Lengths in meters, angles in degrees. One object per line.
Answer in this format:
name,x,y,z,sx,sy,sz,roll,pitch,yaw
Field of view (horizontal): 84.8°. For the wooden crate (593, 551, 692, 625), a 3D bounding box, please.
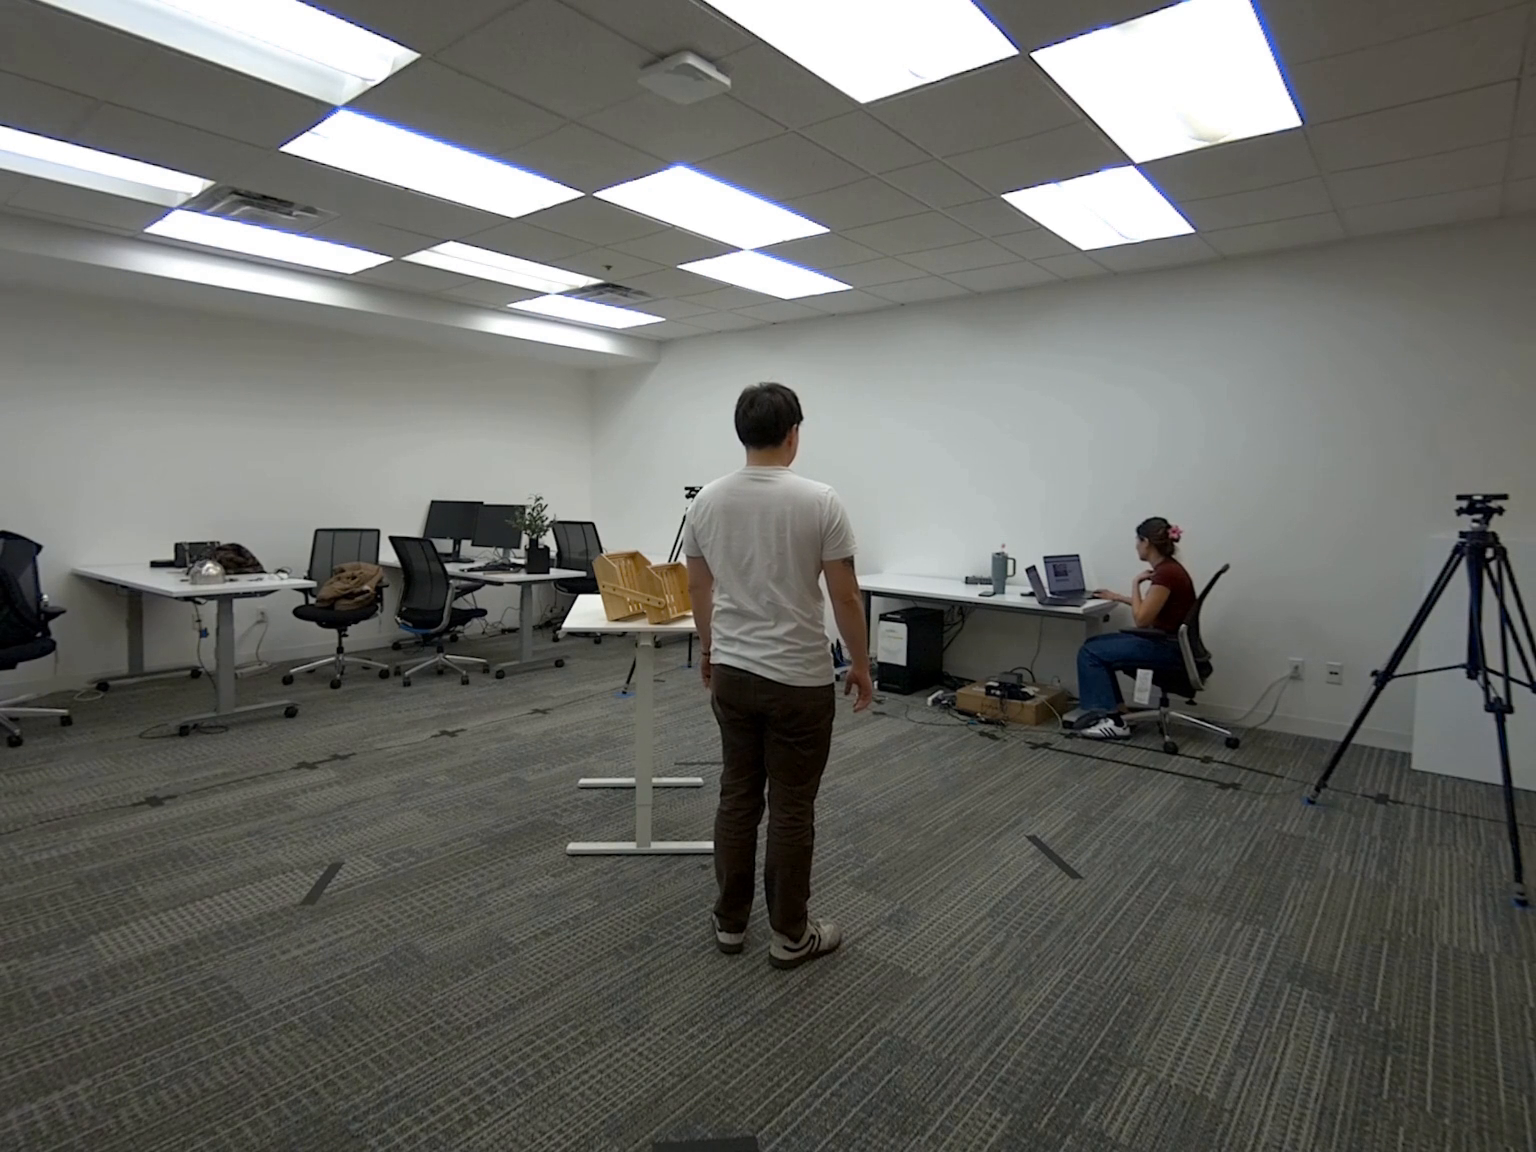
wooden crate,-0.473,0.026,3.299,0.277,0.303,0.319,-16,-2,20
